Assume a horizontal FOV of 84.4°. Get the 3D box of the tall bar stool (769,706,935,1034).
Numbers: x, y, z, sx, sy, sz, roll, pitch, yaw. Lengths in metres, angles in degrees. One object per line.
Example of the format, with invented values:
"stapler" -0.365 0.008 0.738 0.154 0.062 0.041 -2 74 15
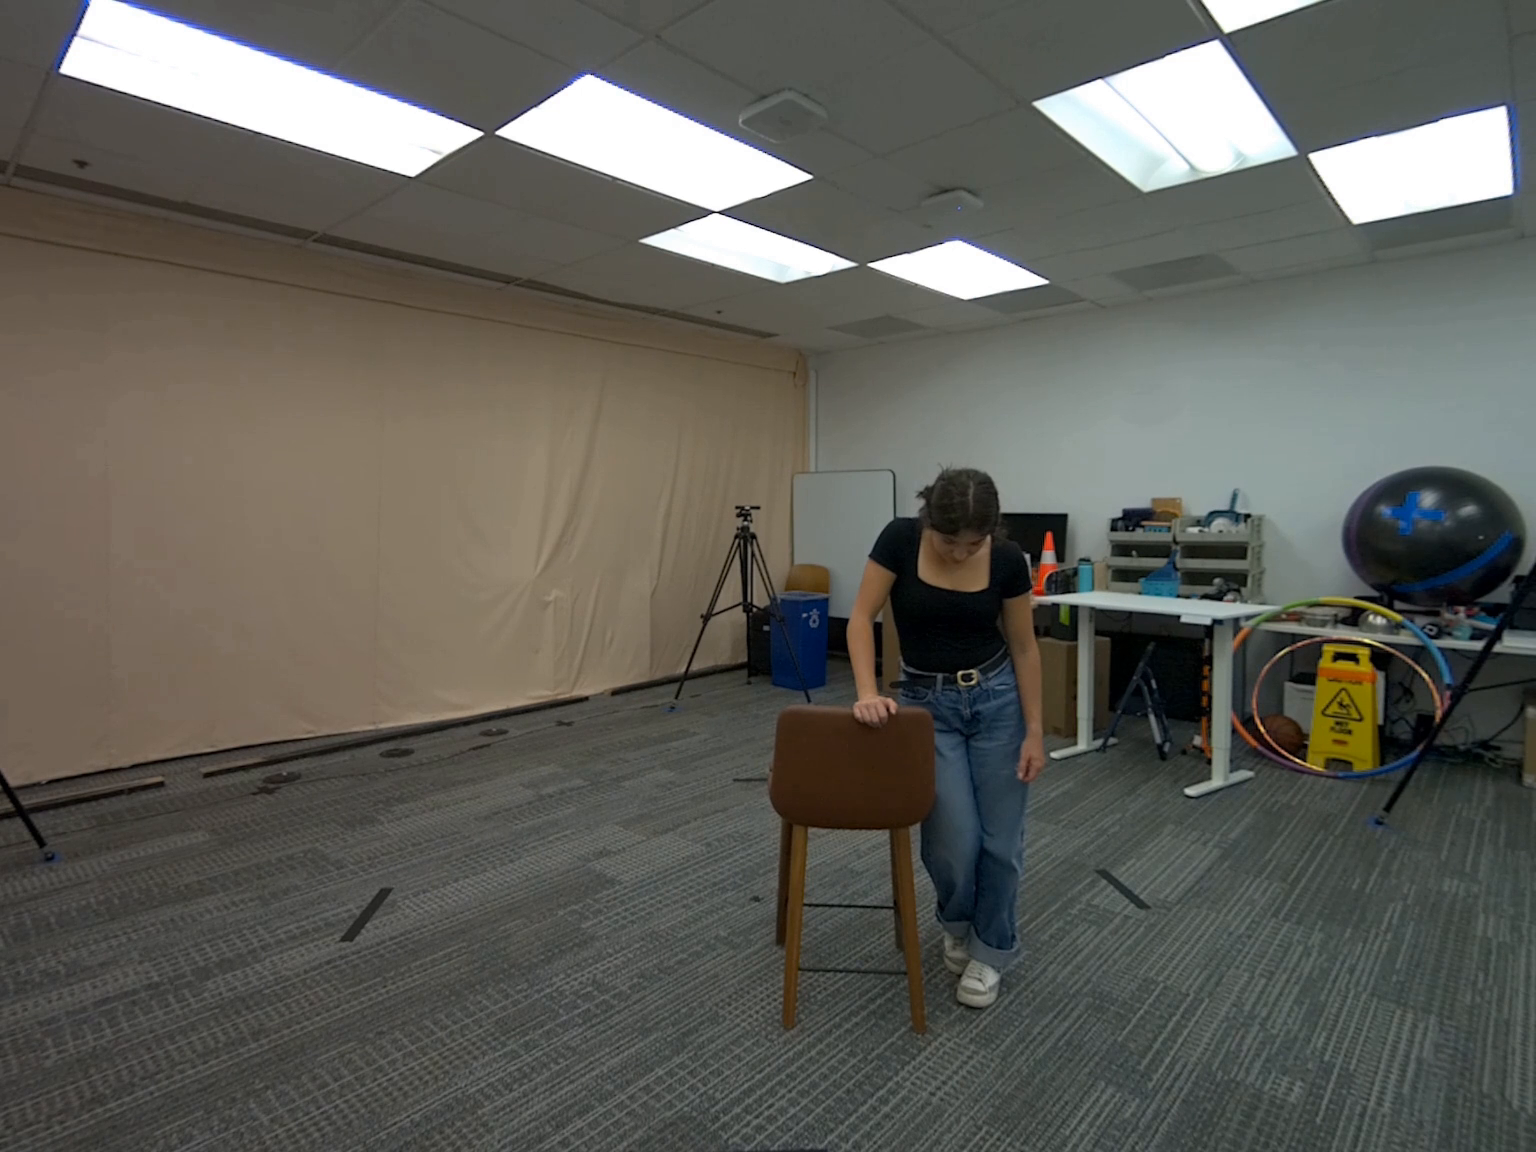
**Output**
"tall bar stool" 0.230 0.757 2.419 0.458 0.887 0.467 1 5 2
